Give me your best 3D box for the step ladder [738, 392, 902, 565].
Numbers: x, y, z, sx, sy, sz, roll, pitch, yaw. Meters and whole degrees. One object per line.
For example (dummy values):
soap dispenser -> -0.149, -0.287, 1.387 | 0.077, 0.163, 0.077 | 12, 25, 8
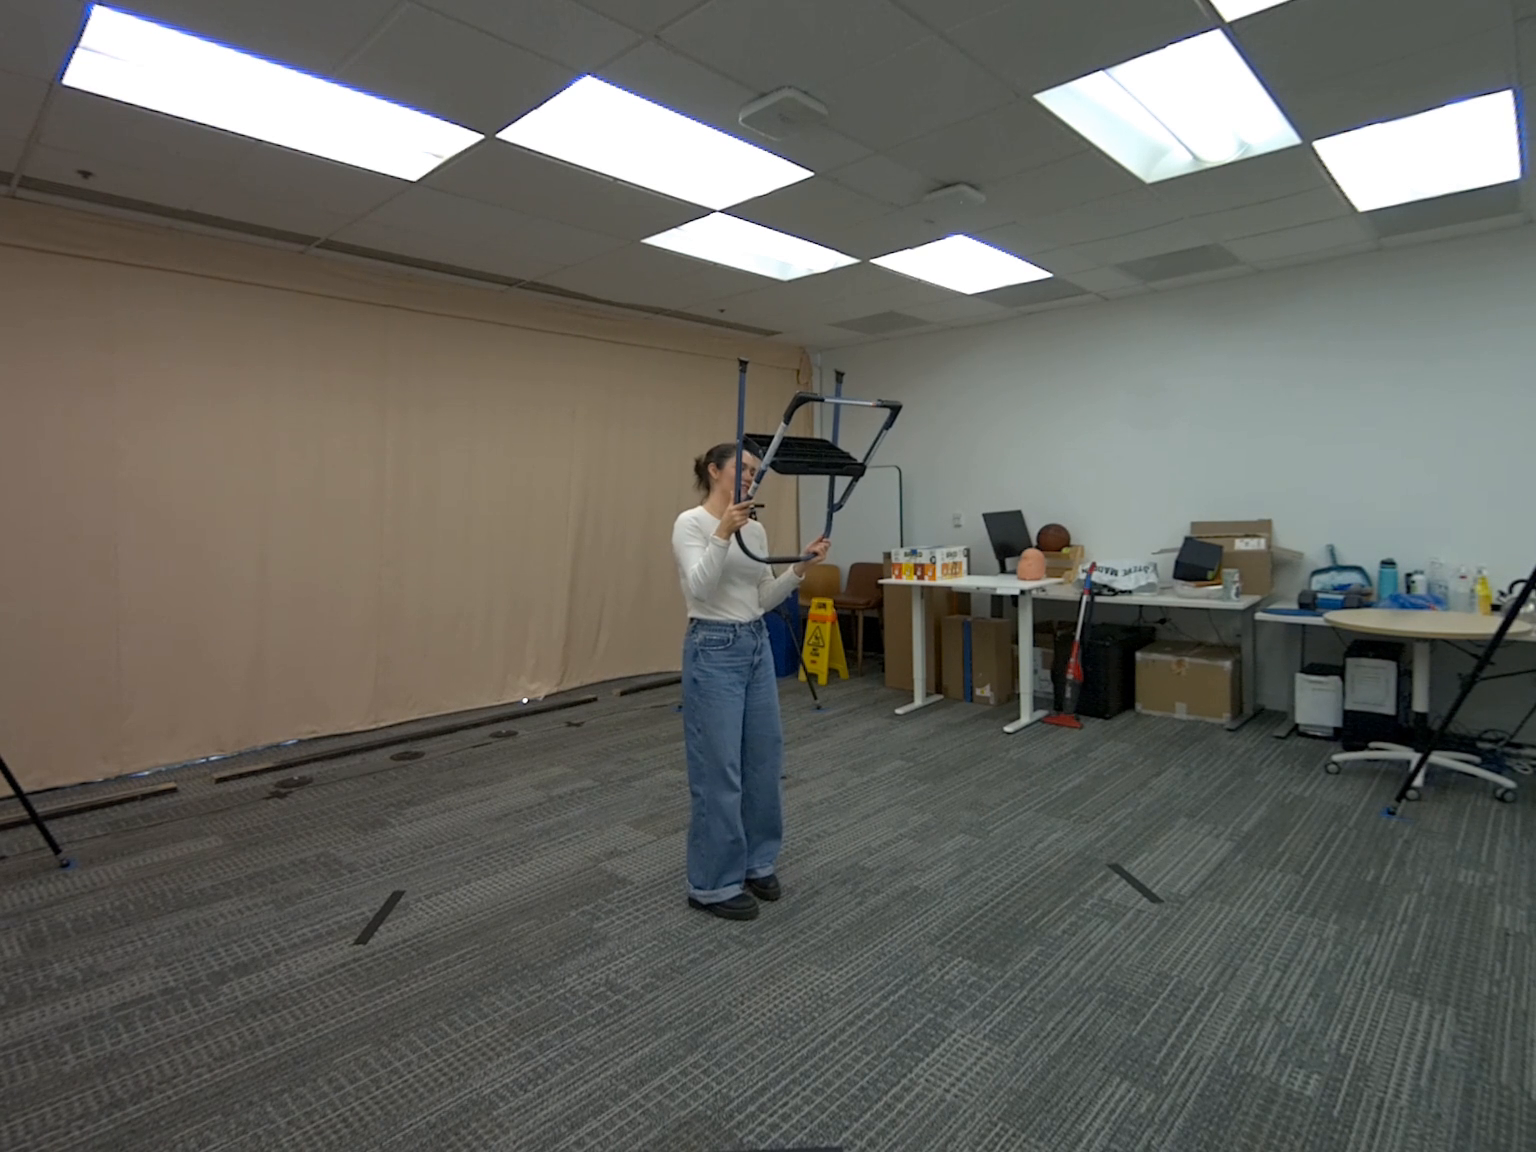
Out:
step ladder -> 0.095, -0.349, 2.737 | 0.418, 0.601, 0.362 | -2, 29, -34
